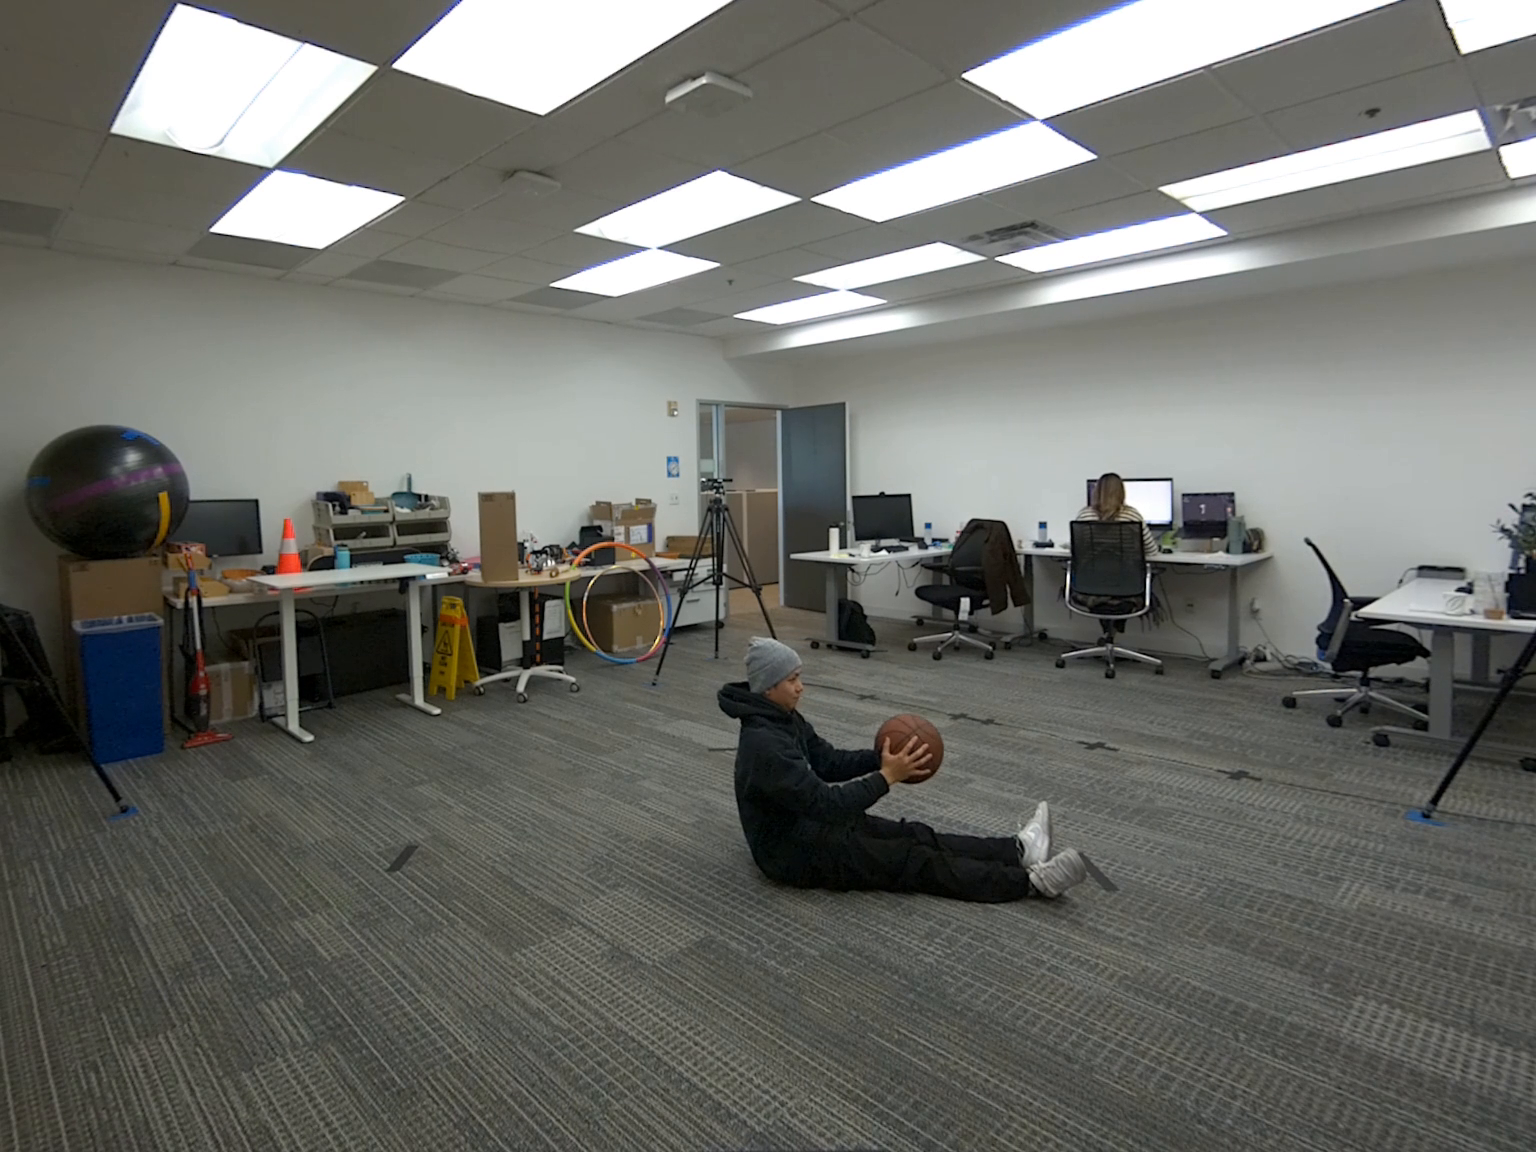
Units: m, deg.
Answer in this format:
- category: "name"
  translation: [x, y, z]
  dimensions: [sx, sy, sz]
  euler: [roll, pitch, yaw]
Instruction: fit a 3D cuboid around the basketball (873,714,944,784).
- category: "basketball"
  translation: [0.470, 0.601, 2.969]
  dimensions: [0.236, 0.235, 0.237]
  euler: [-1, 5, -2]
